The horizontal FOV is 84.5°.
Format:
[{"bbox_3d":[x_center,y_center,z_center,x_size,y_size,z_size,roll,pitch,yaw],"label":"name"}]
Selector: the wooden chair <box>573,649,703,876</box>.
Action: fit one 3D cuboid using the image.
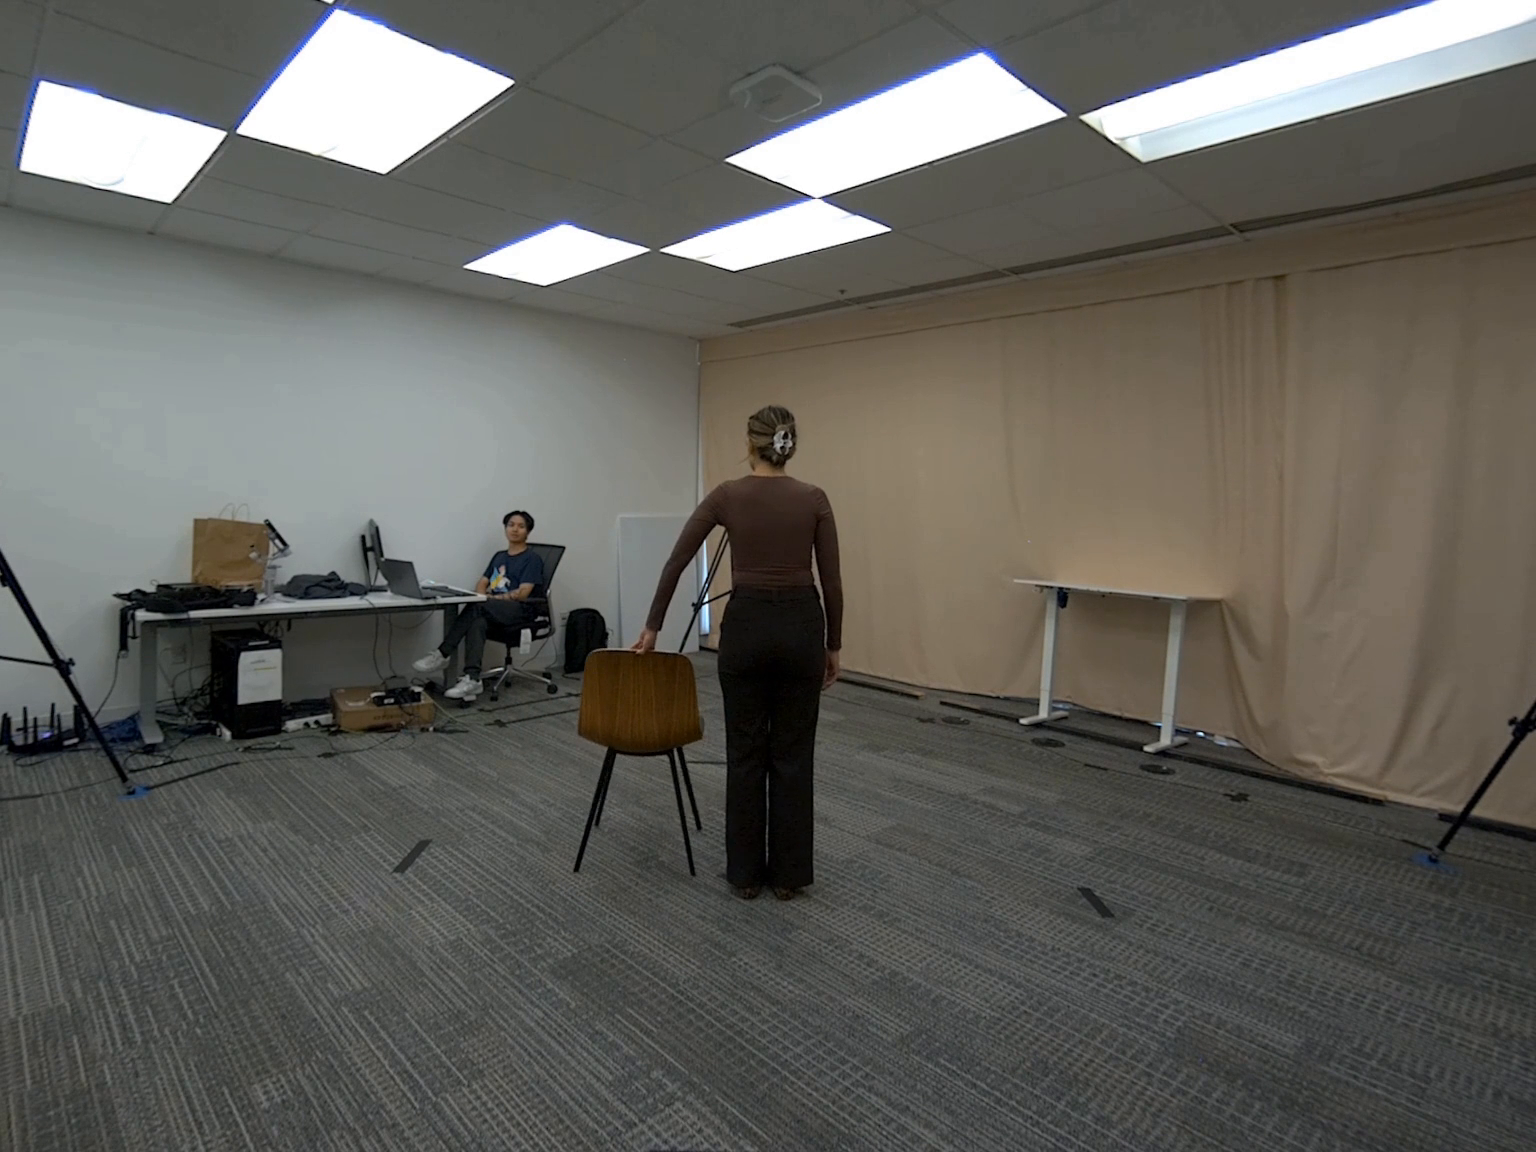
[{"bbox_3d":[-0.492,0.654,3.297,0.478,0.872,0.525,0,8,0],"label":"wooden chair"}]
